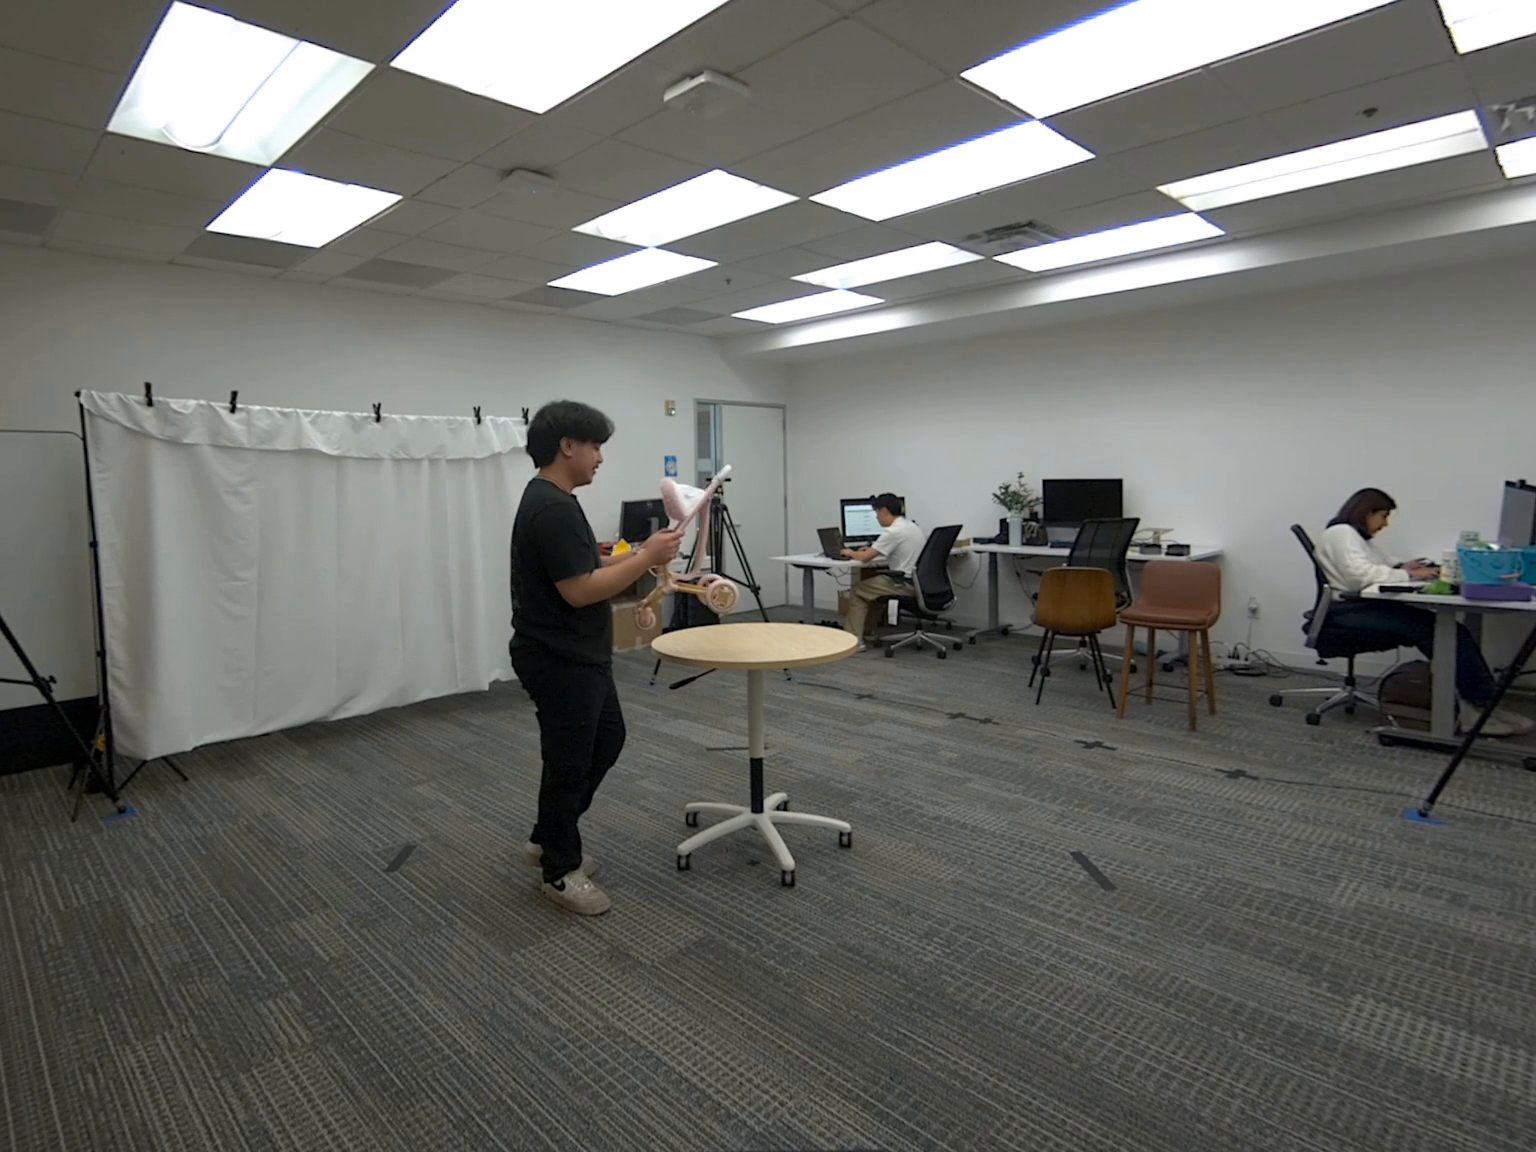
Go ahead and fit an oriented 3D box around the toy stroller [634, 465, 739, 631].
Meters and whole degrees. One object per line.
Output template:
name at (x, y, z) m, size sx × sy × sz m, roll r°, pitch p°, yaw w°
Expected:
toy stroller at (-0.283, -0.090, 2.837) m, size 0.340 × 0.534 × 0.283 m, roll -3°, pitch 2°, yaw -3°
